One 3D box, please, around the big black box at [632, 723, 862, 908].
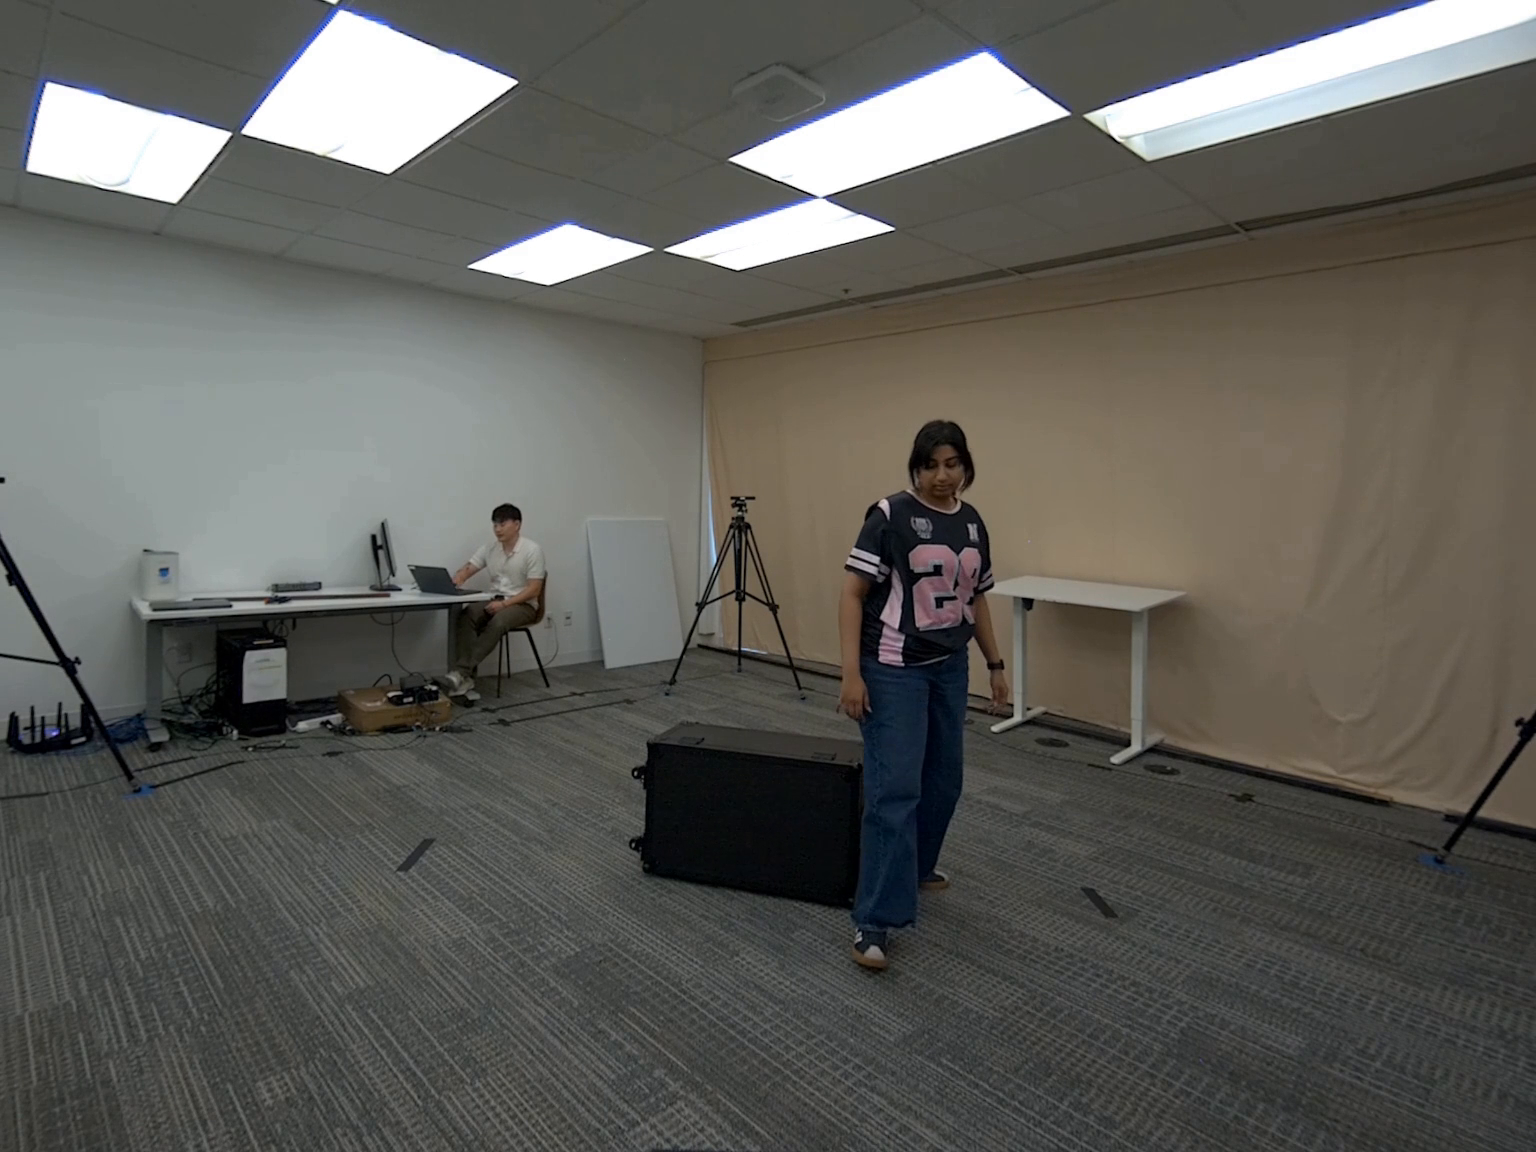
[{"bbox_3d":[-0.065,0.845,3.137,0.881,0.522,0.380,3,3,17],"label":"big black box"}]
